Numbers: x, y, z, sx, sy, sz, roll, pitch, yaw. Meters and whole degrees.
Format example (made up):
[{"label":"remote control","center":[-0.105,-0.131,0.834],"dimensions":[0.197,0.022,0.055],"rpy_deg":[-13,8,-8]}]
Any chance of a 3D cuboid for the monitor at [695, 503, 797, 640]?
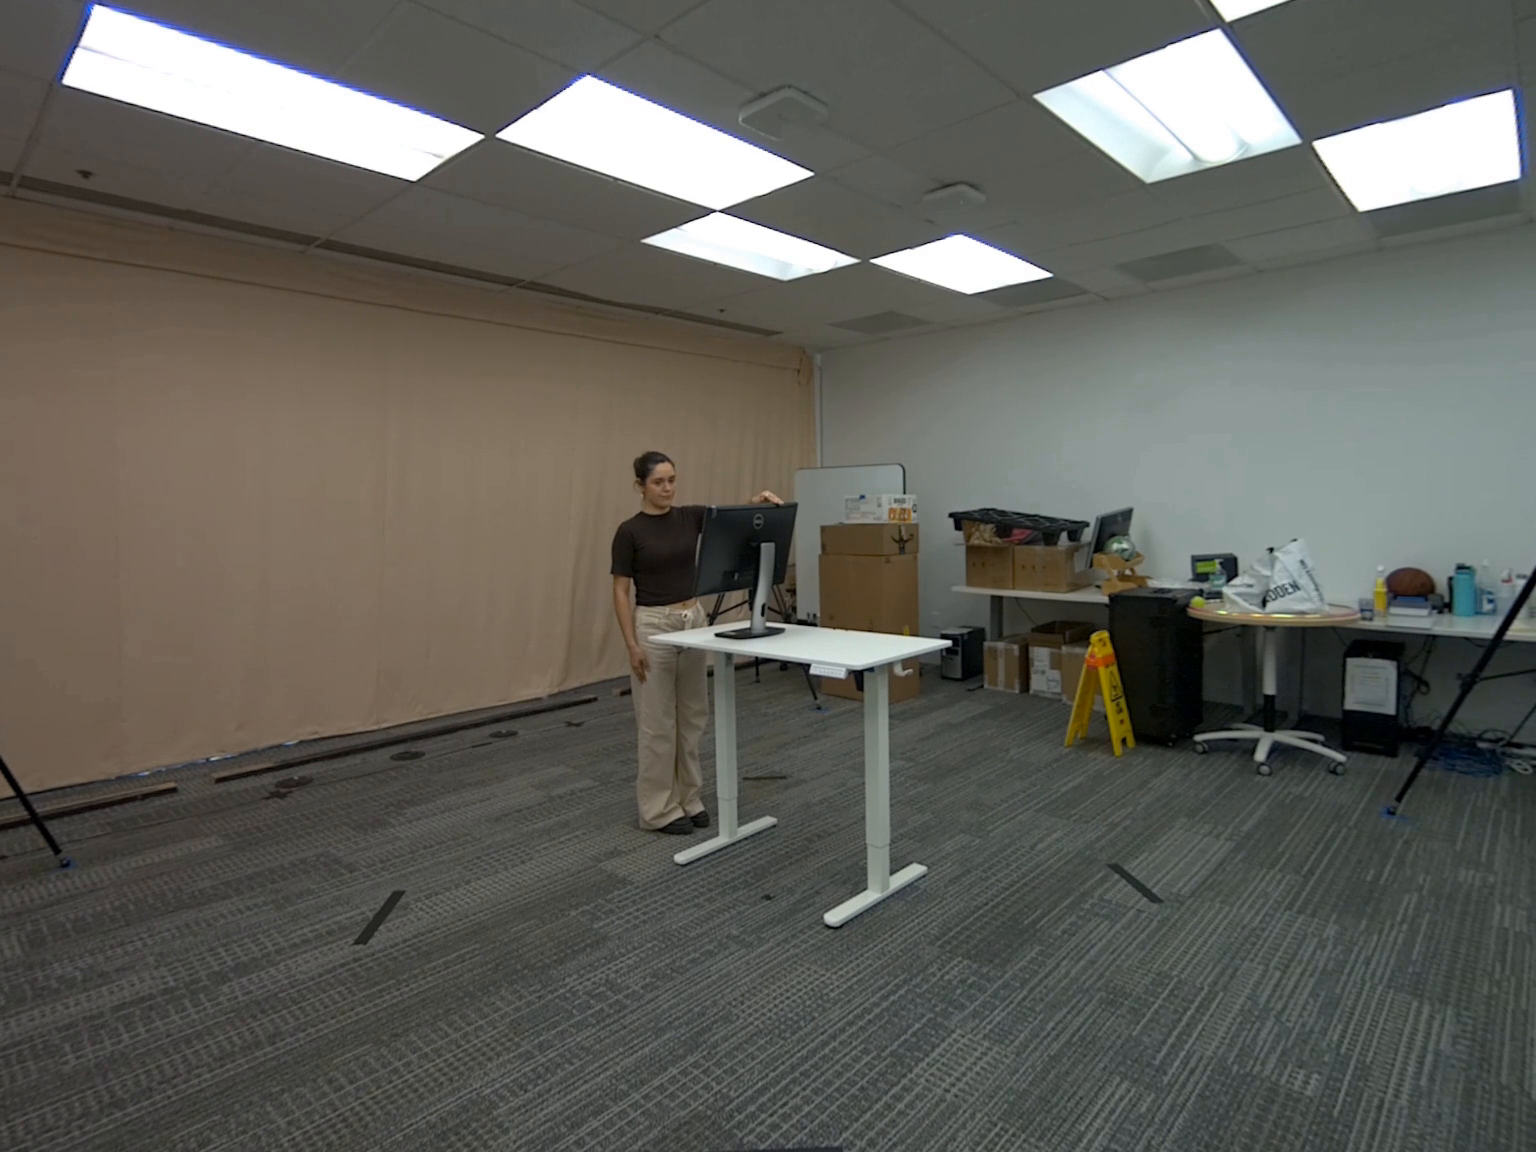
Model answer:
[{"label":"monitor","center":[-0.056,-0.019,3.307],"dimensions":[0.193,0.521,0.523],"rpy_deg":[5,7,40]}]
